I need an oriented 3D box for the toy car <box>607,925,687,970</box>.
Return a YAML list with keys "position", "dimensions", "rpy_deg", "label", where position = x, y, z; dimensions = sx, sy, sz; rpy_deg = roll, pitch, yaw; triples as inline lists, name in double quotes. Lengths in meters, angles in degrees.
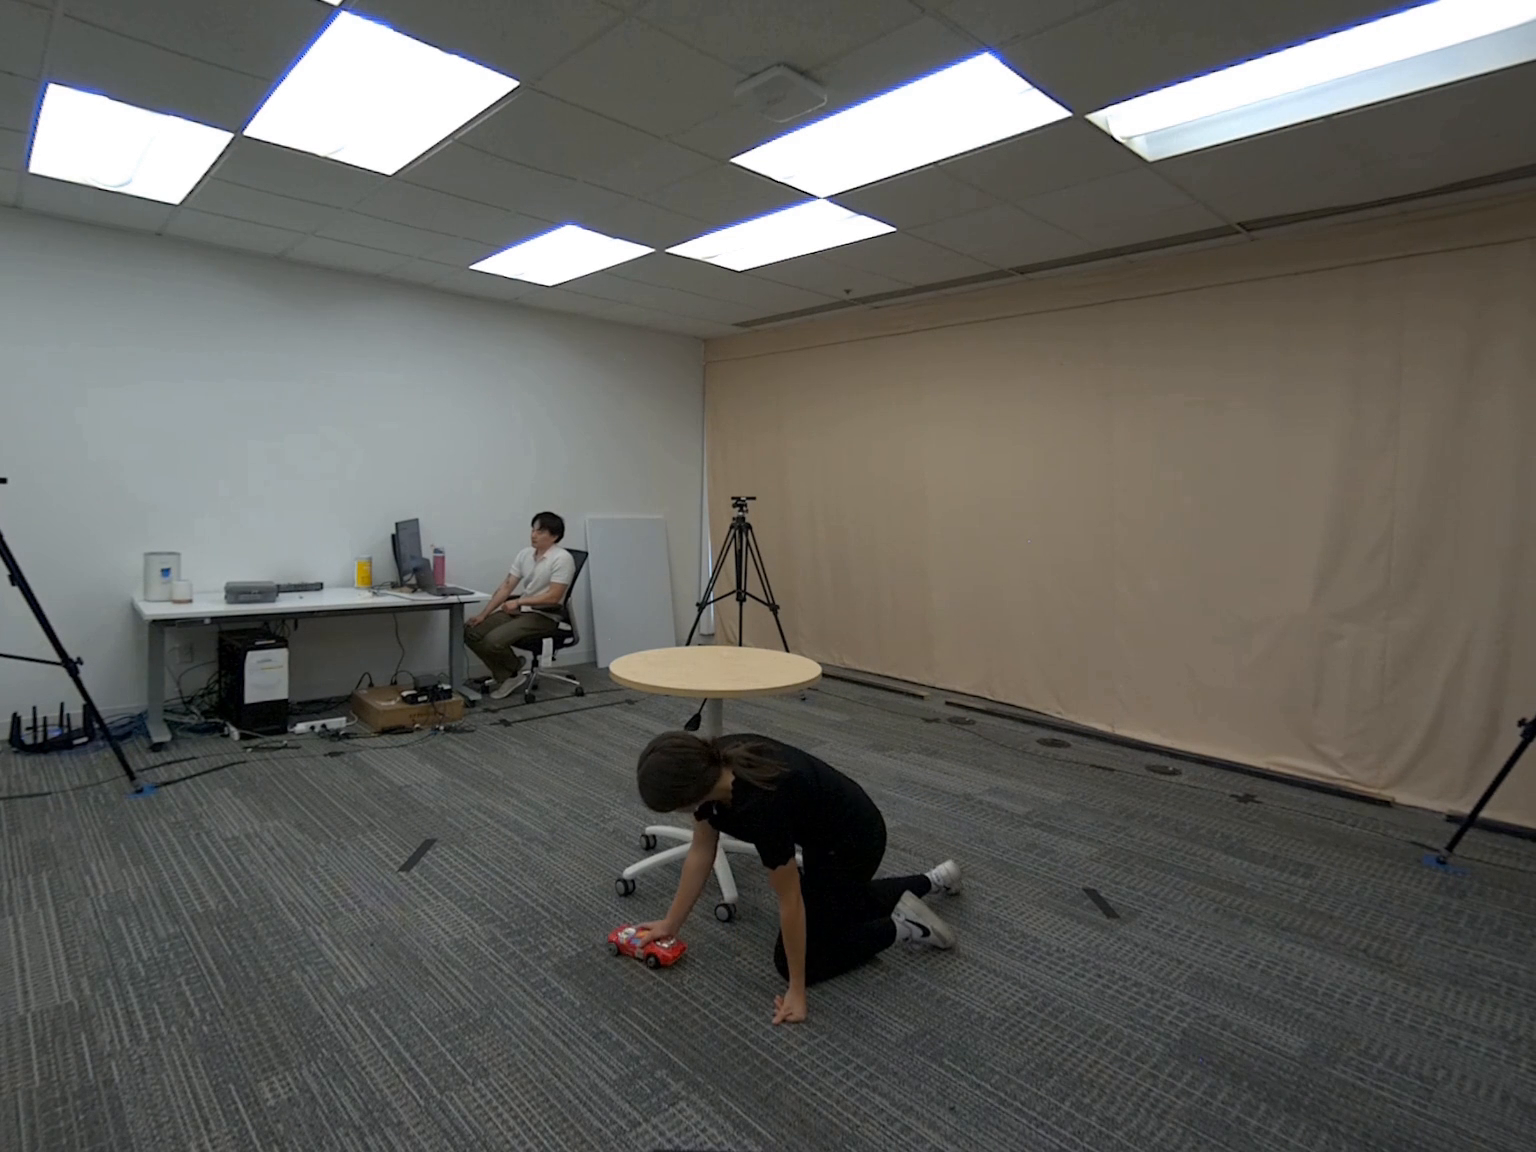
- position: [-0.358, 1.119, 2.541]
  dimensions: [0.259, 0.083, 0.128]
  rpy_deg: [-7, 1, 30]
  label: "toy car"
